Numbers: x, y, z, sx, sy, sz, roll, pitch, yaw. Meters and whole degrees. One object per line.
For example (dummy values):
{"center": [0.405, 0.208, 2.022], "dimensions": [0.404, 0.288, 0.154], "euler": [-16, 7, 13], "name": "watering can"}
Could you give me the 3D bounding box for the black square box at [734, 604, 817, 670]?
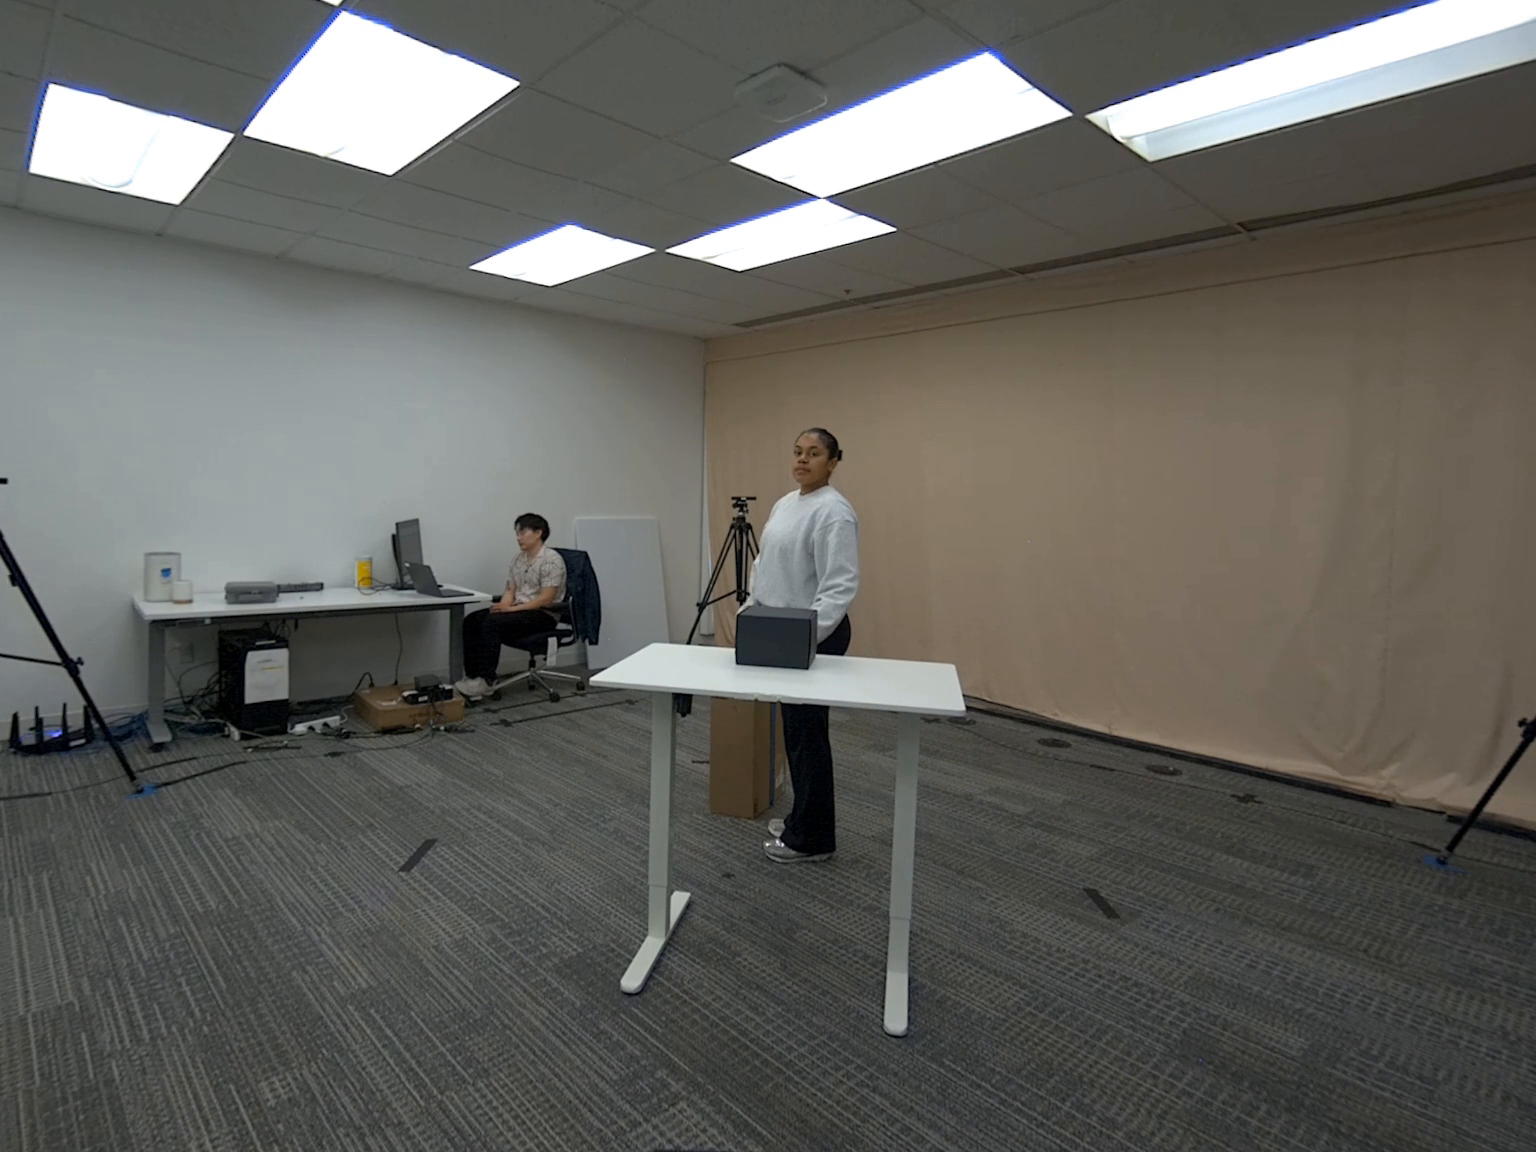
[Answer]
{"center": [0.027, 0.191, 2.638], "dimensions": [0.230, 0.155, 0.215], "euler": [4, 6, 12], "name": "black square box"}
